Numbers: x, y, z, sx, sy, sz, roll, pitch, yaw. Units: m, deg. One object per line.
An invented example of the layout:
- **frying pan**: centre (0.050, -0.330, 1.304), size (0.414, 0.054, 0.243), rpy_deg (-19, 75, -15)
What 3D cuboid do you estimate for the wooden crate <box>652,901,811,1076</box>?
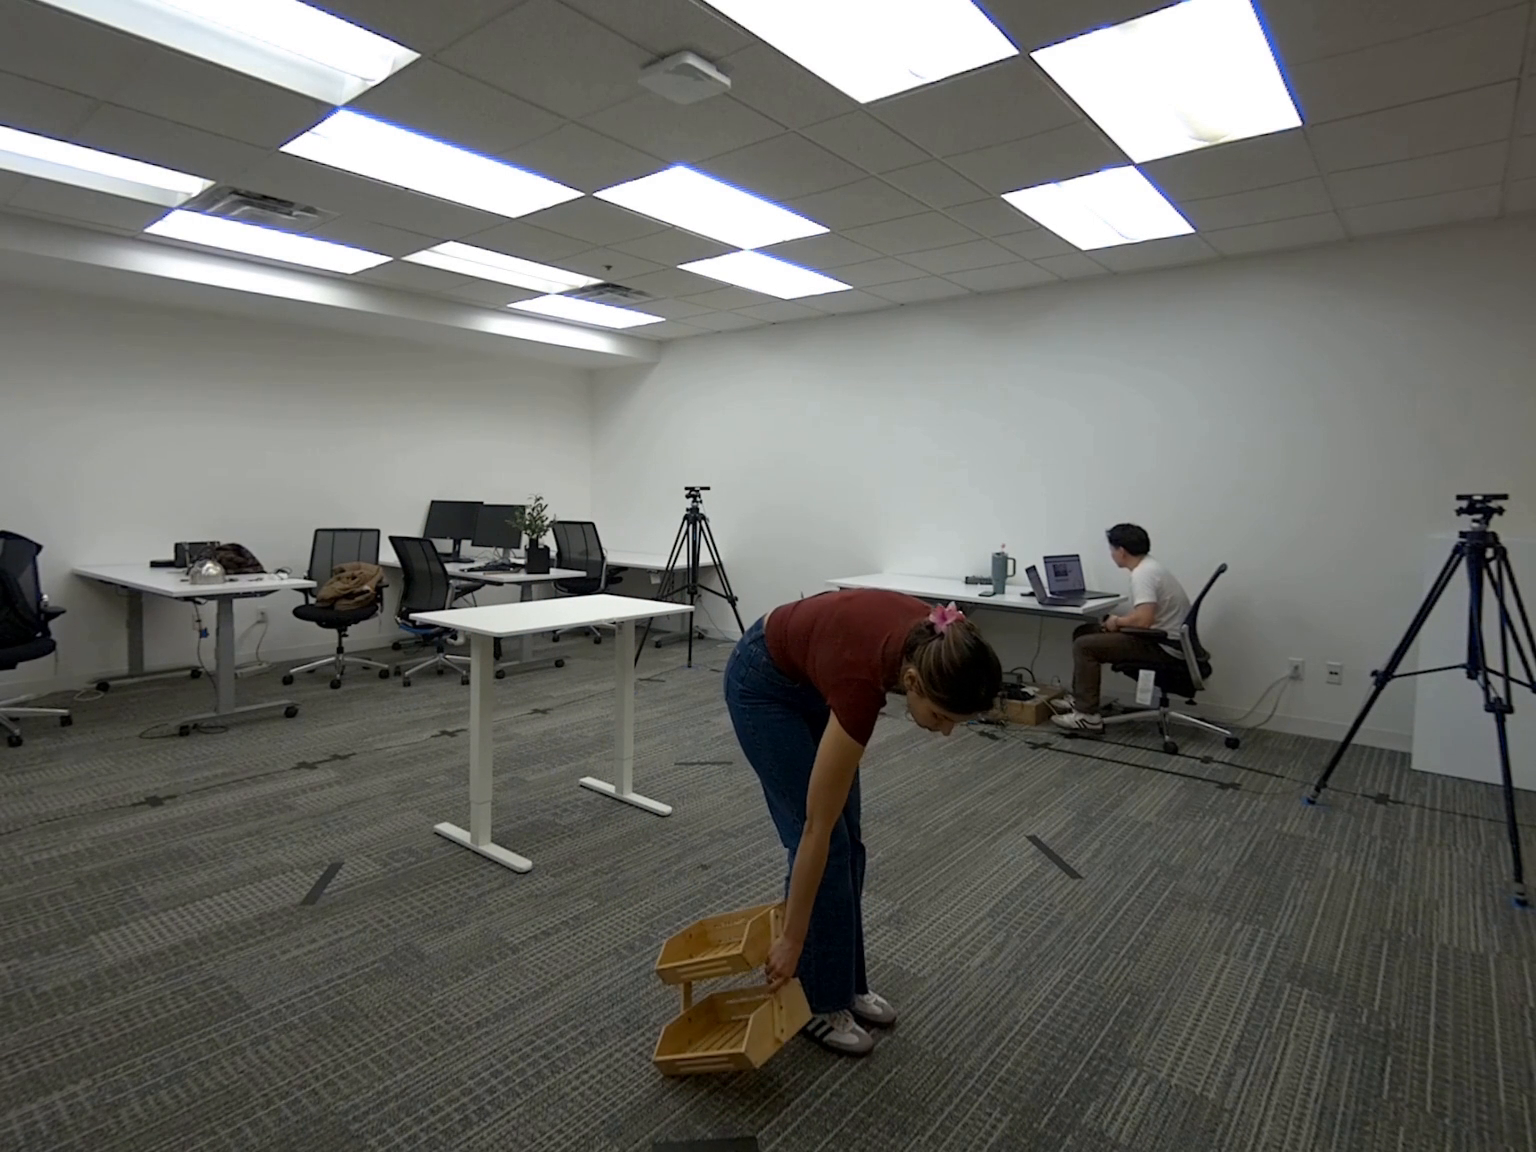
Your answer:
- **wooden crate**: centre (-0.116, 0.991, 2.055), size (0.329, 0.278, 0.293), rpy_deg (-28, -14, 34)
